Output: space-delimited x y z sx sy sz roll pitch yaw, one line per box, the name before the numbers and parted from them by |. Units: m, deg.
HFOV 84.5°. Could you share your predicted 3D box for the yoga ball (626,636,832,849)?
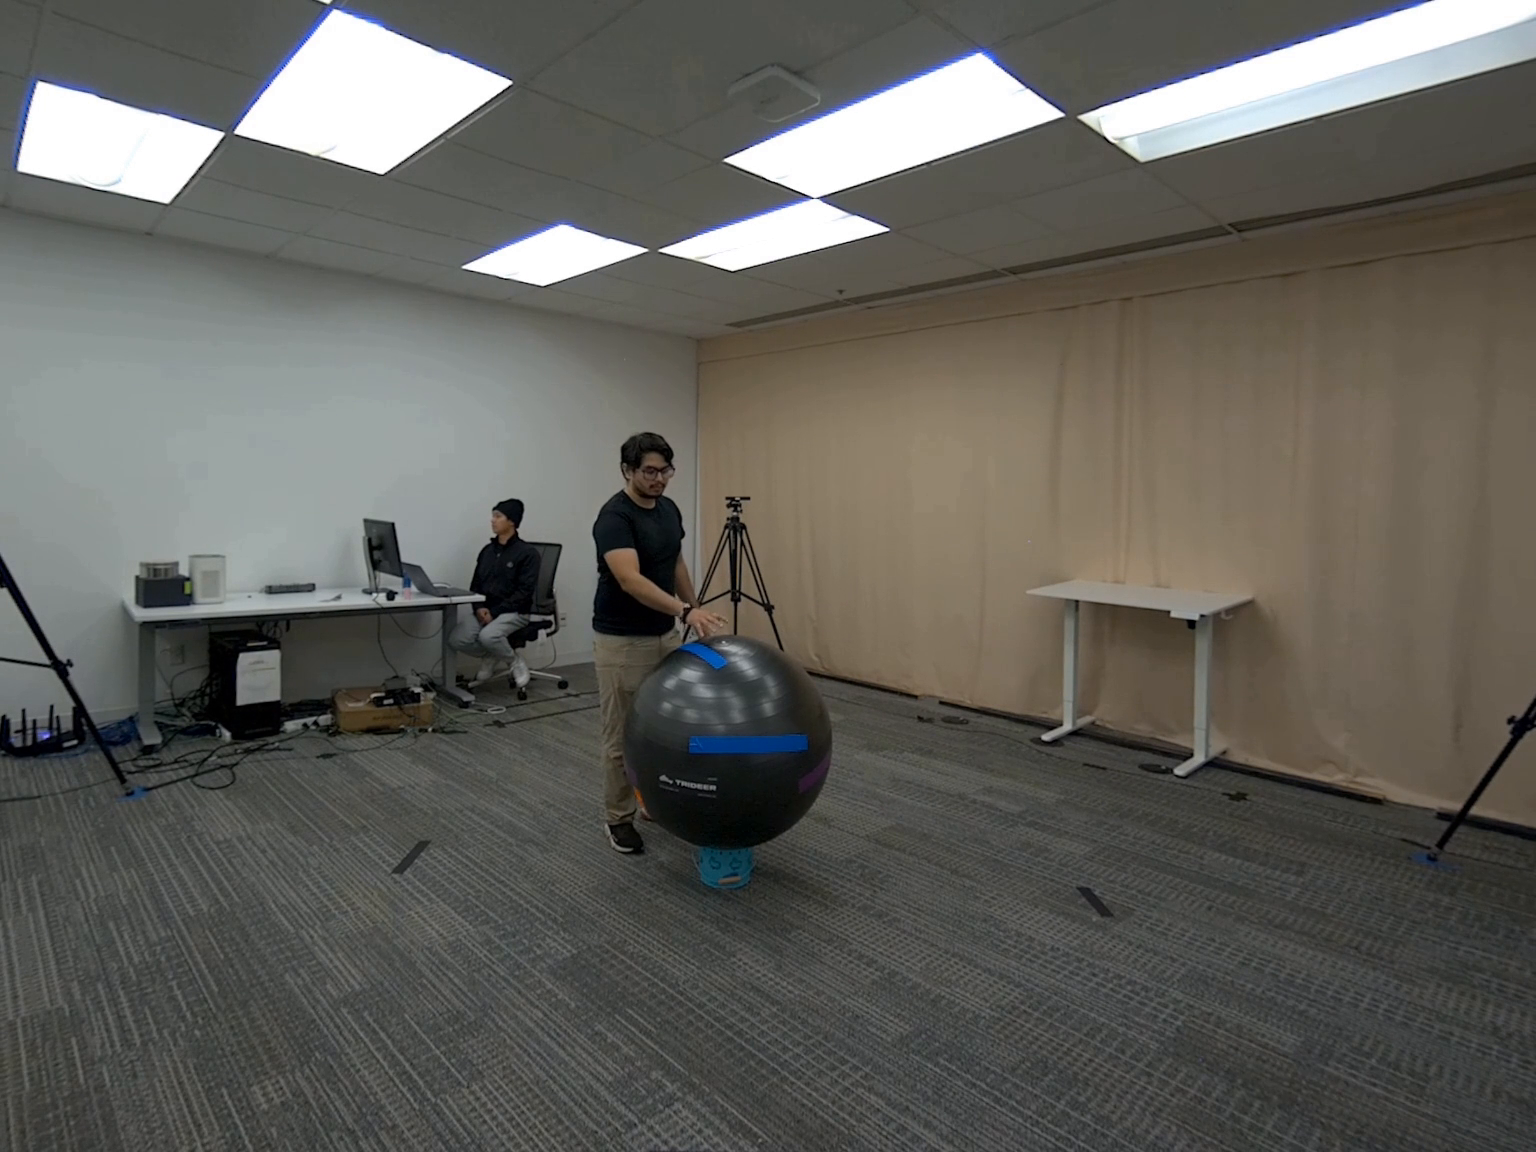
yoga ball | -0.145 0.604 3.054 0.757 0.756 0.760 1 4 -1
